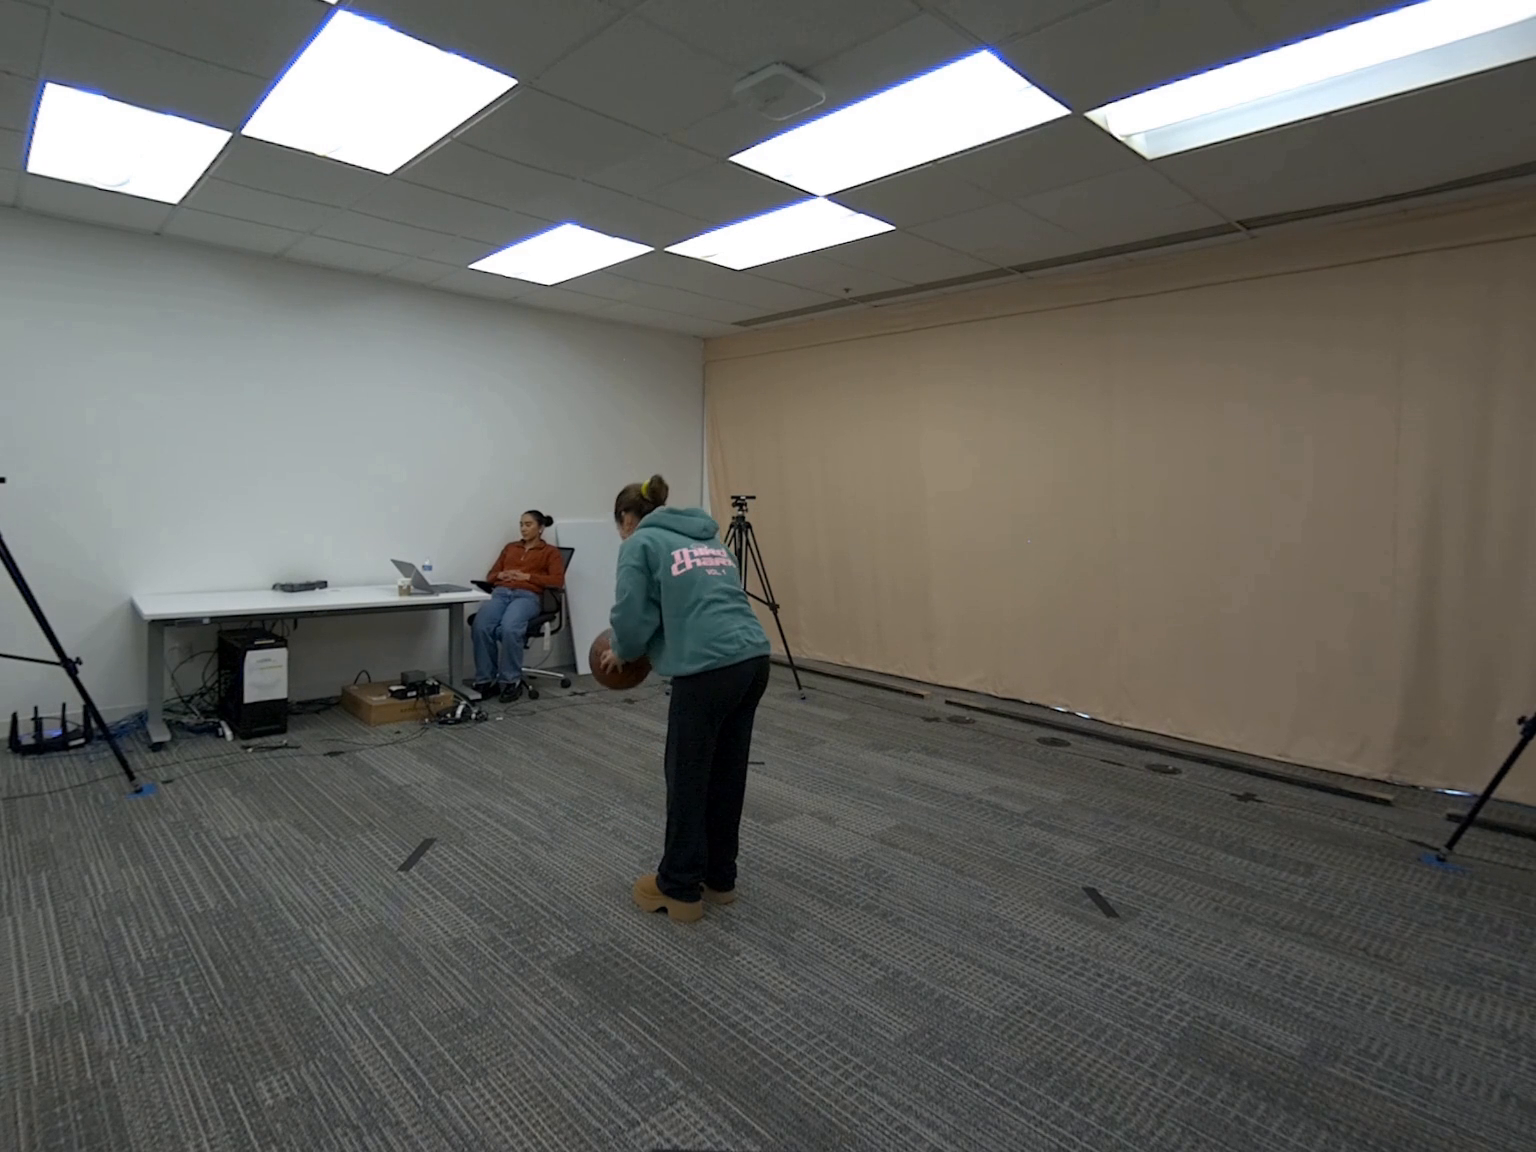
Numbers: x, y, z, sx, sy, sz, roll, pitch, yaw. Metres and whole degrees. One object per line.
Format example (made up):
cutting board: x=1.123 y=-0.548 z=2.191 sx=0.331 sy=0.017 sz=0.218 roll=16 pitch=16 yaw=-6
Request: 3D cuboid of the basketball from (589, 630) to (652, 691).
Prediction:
basketball: x=-0.545 y=0.306 z=3.108 sx=0.236 sy=0.235 sz=0.237 roll=1 pitch=4 yaw=-1
